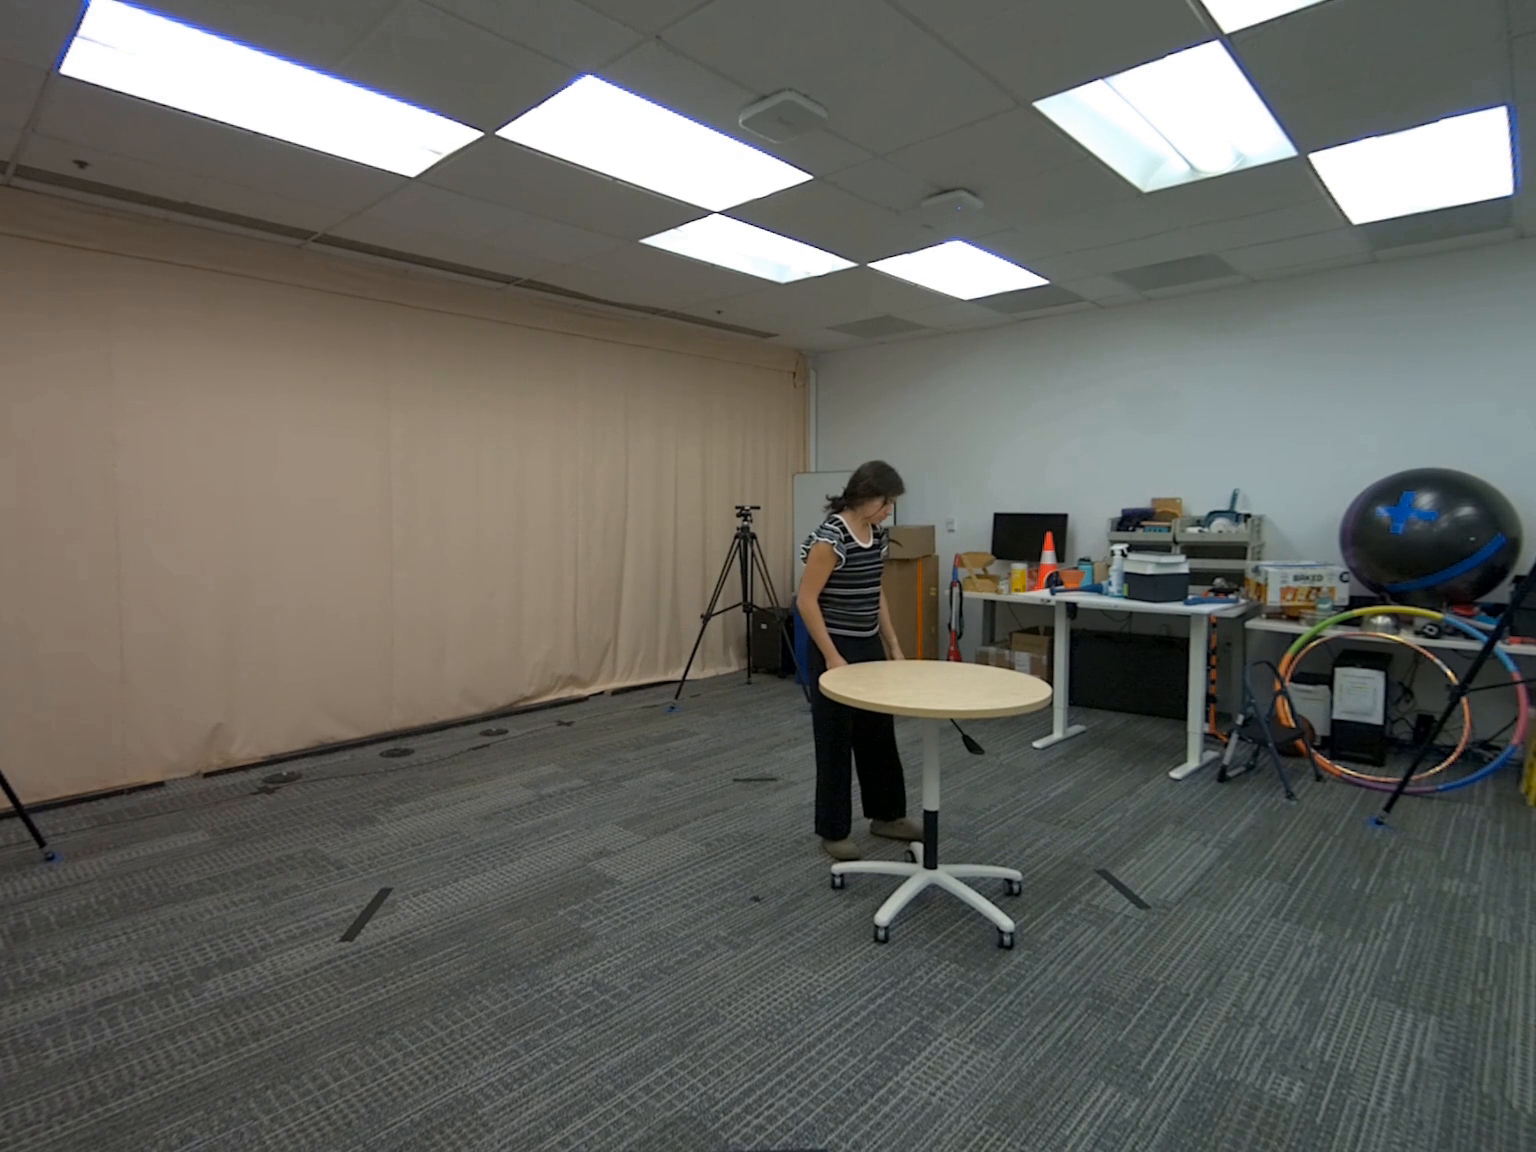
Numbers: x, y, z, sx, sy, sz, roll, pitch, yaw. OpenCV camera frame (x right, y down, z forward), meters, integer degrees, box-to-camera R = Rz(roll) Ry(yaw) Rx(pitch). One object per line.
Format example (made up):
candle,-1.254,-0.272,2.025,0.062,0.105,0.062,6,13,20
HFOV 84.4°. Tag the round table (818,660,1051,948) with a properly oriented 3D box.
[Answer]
round table,0.563,0.755,2.908,0.763,0.792,0.767,0,4,-2
